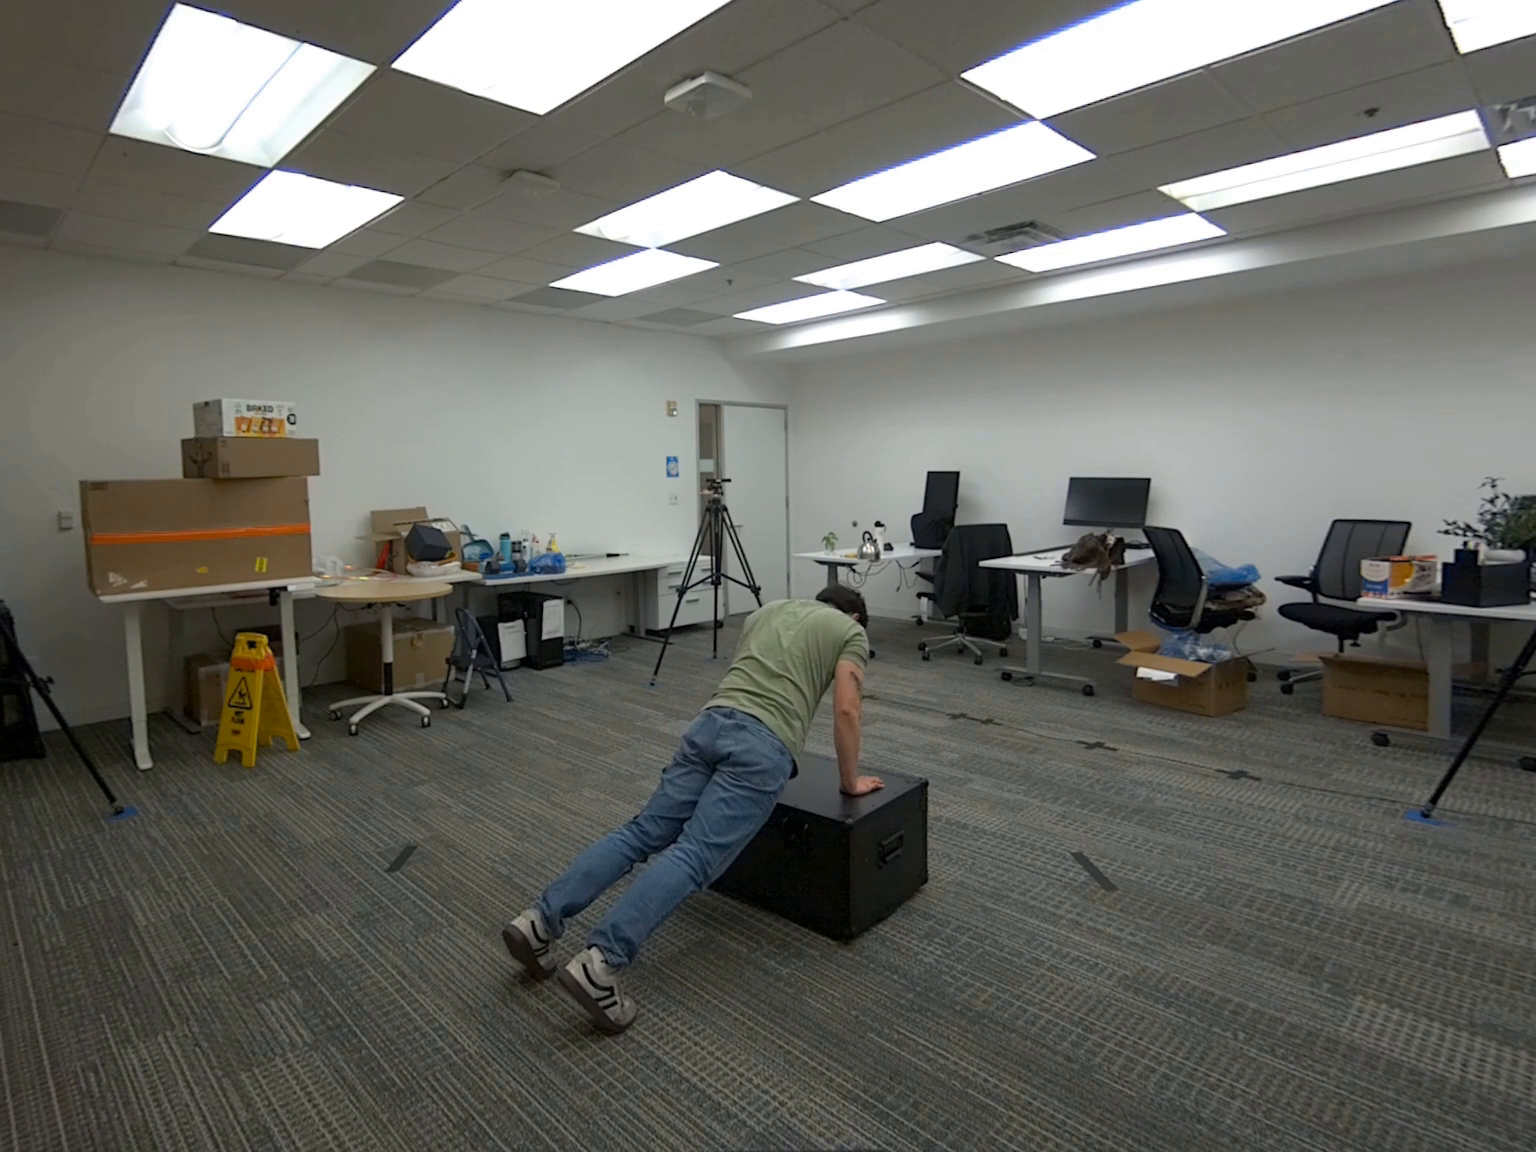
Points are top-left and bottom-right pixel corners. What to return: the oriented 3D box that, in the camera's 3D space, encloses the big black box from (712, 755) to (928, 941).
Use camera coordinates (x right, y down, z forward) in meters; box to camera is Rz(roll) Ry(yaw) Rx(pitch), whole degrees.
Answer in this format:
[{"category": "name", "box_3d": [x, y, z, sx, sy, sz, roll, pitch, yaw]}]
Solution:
[{"category": "big black box", "box_3d": [0.064, 0.869, 2.985, 0.888, 0.394, 0.508, 5, 8, 40]}]
